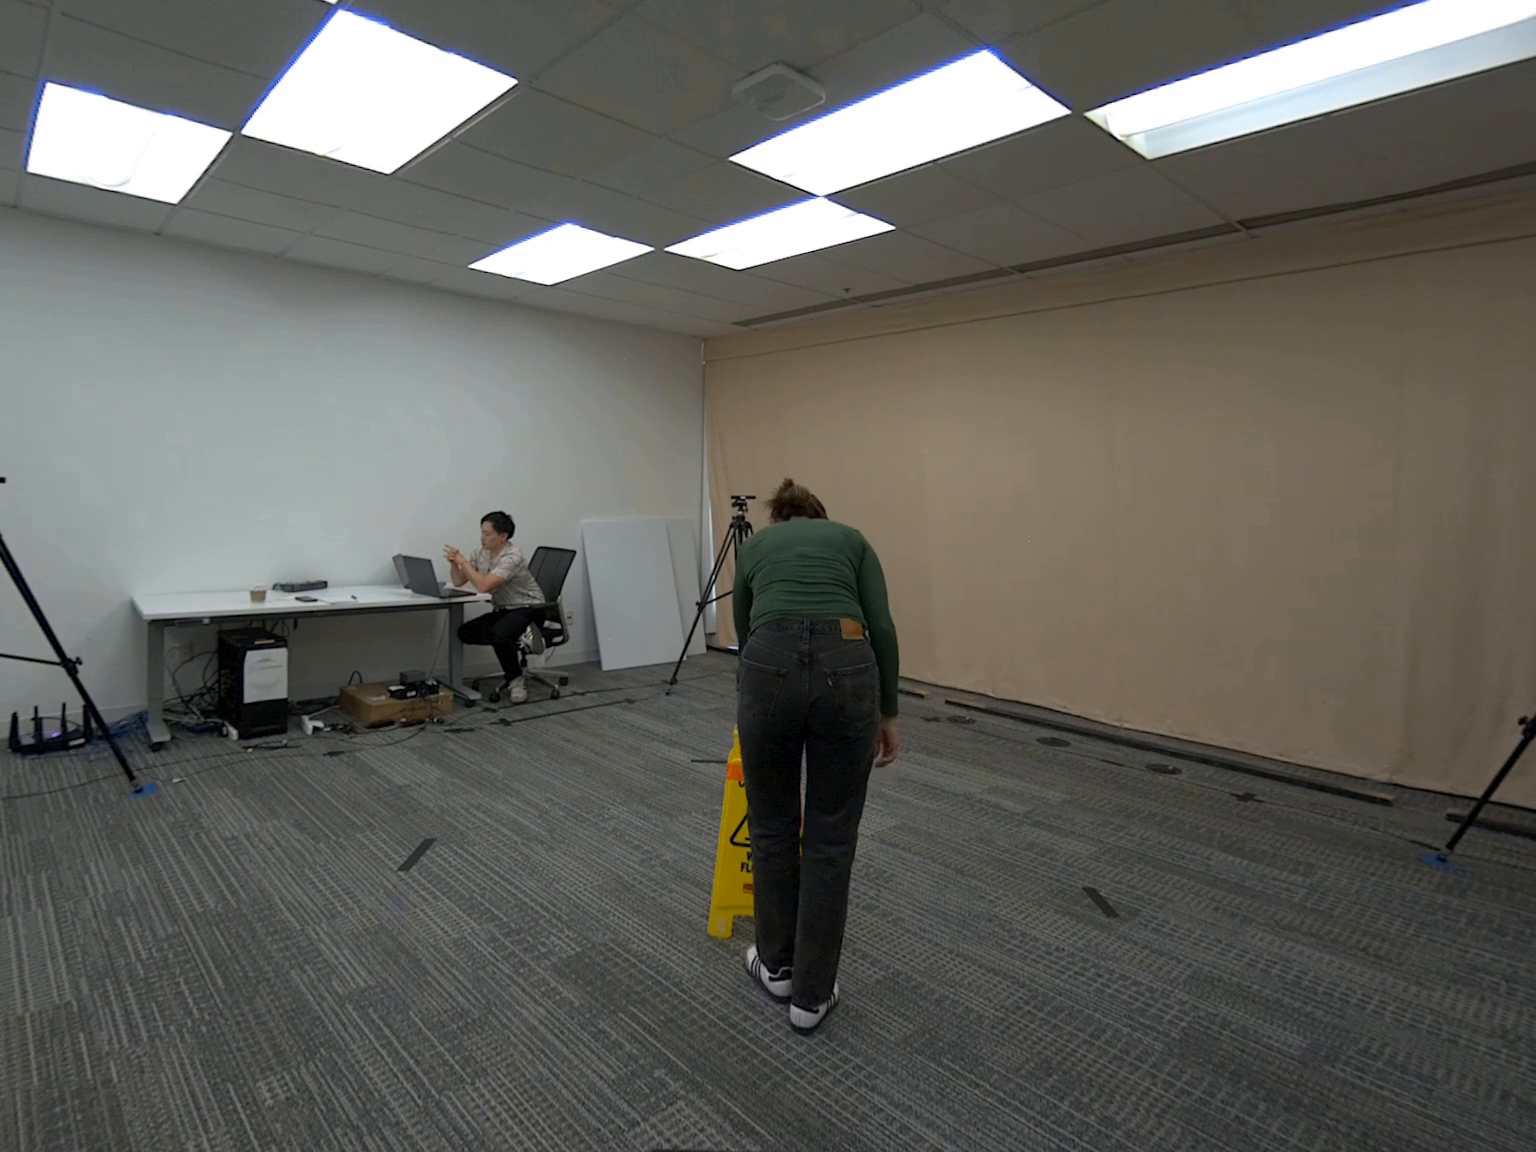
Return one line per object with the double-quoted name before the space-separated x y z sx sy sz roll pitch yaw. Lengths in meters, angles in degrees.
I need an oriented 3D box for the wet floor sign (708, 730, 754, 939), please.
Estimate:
"wet floor sign" -0.020 0.817 2.762 0.285 0.644 0.287 4 4 12
